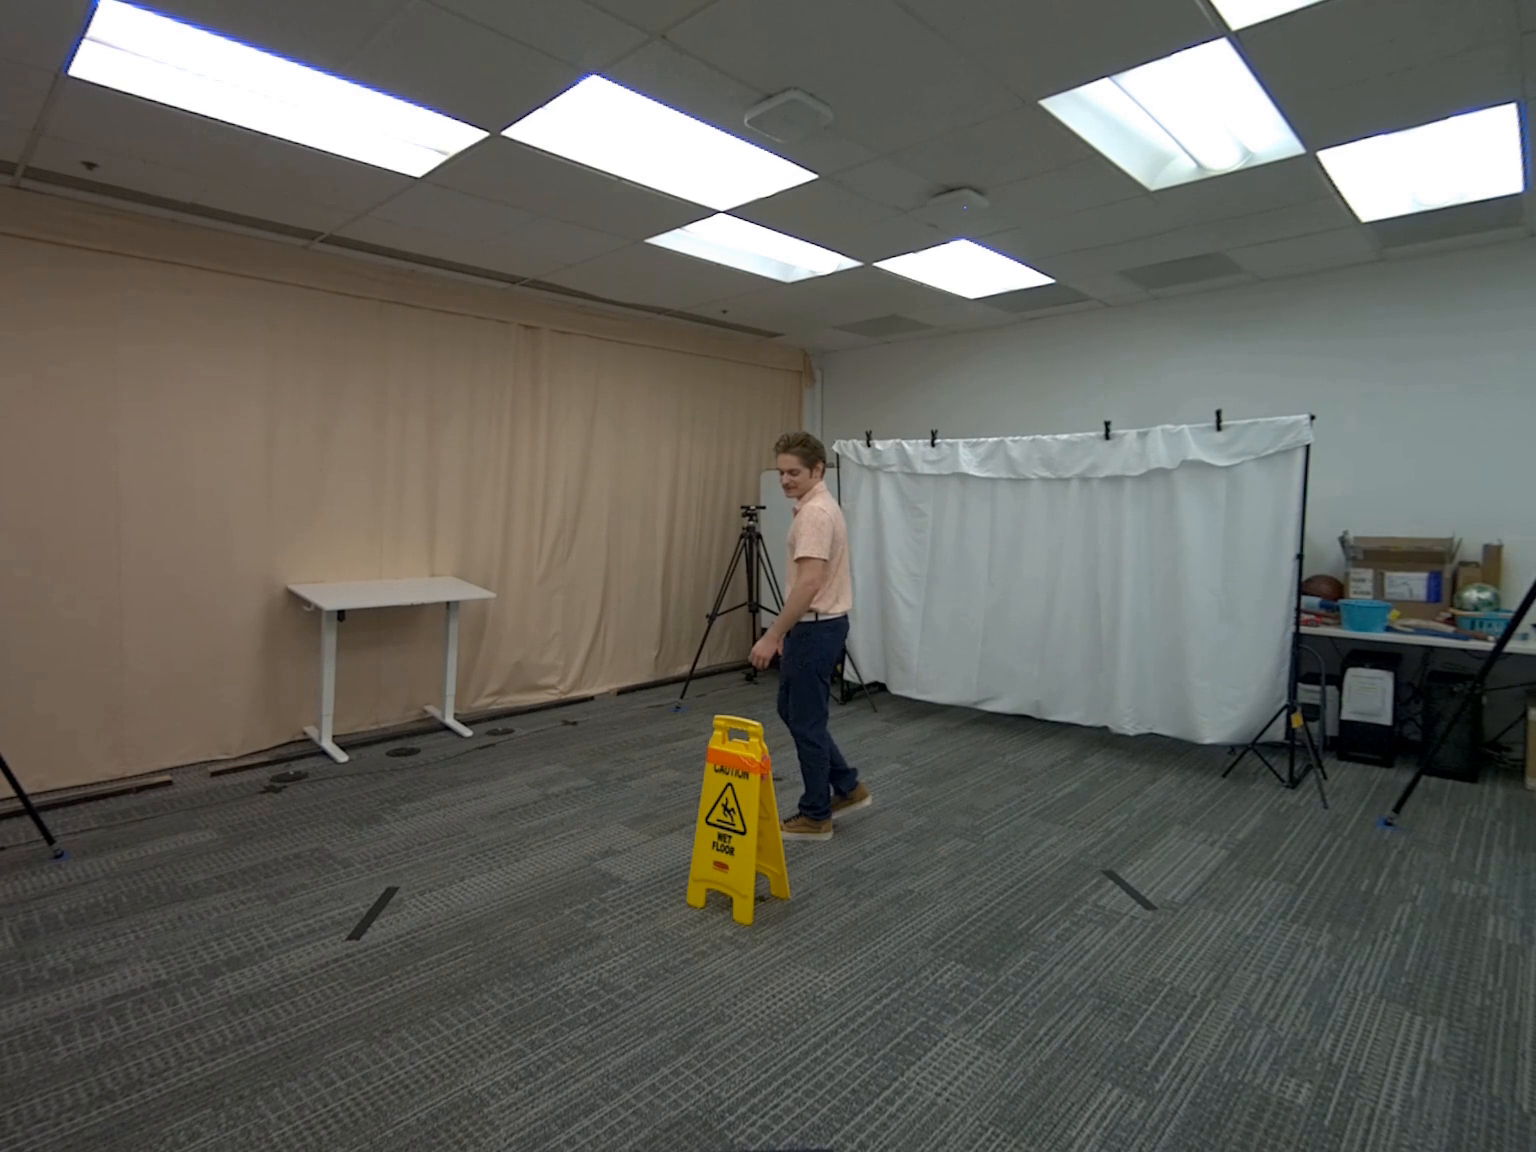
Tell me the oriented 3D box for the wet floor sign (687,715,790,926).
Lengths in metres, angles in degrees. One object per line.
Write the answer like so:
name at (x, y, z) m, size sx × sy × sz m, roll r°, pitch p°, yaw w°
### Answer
wet floor sign at (-0.101, 0.821, 2.954) m, size 0.291 × 0.645 × 0.281 m, roll 3°, pitch 4°, yaw 36°
